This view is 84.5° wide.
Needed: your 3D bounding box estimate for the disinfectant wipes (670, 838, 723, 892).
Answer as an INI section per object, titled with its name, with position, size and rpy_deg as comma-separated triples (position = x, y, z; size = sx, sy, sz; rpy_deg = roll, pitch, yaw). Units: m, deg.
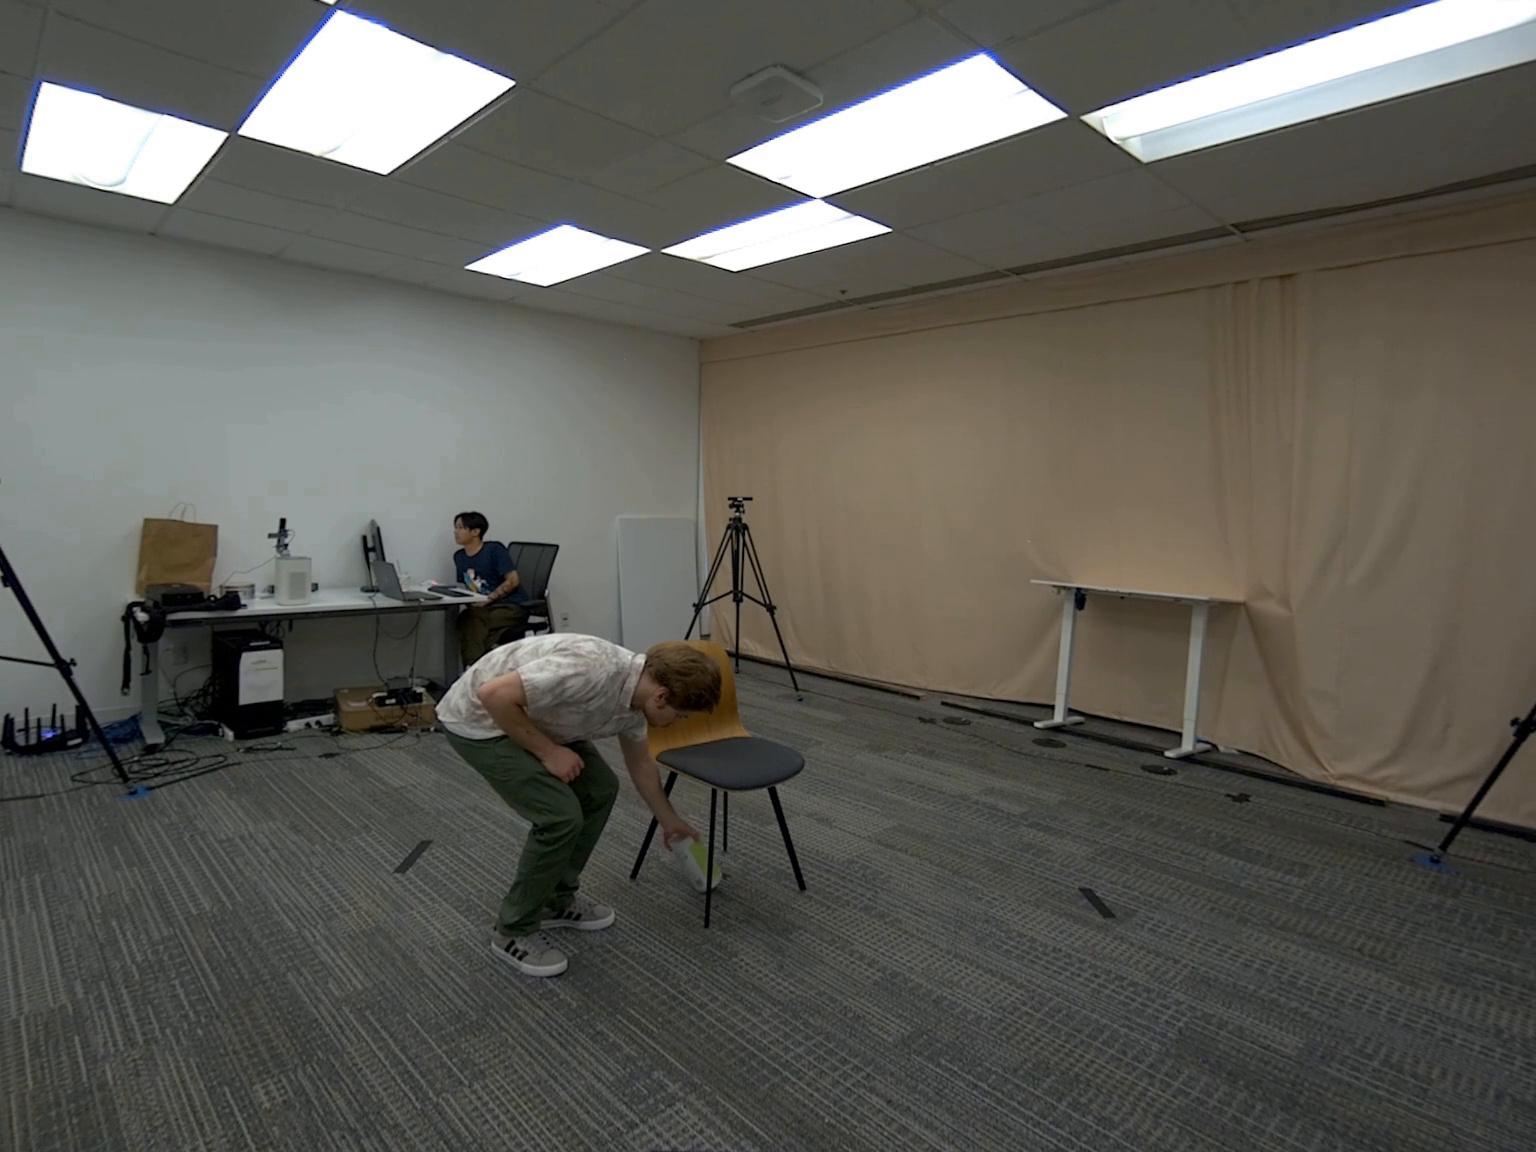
[disinfectant wipes]
position = -0.259, 1.004, 2.971
size = 0.118, 0.215, 0.118
rpy_deg = -17, 9, 2
